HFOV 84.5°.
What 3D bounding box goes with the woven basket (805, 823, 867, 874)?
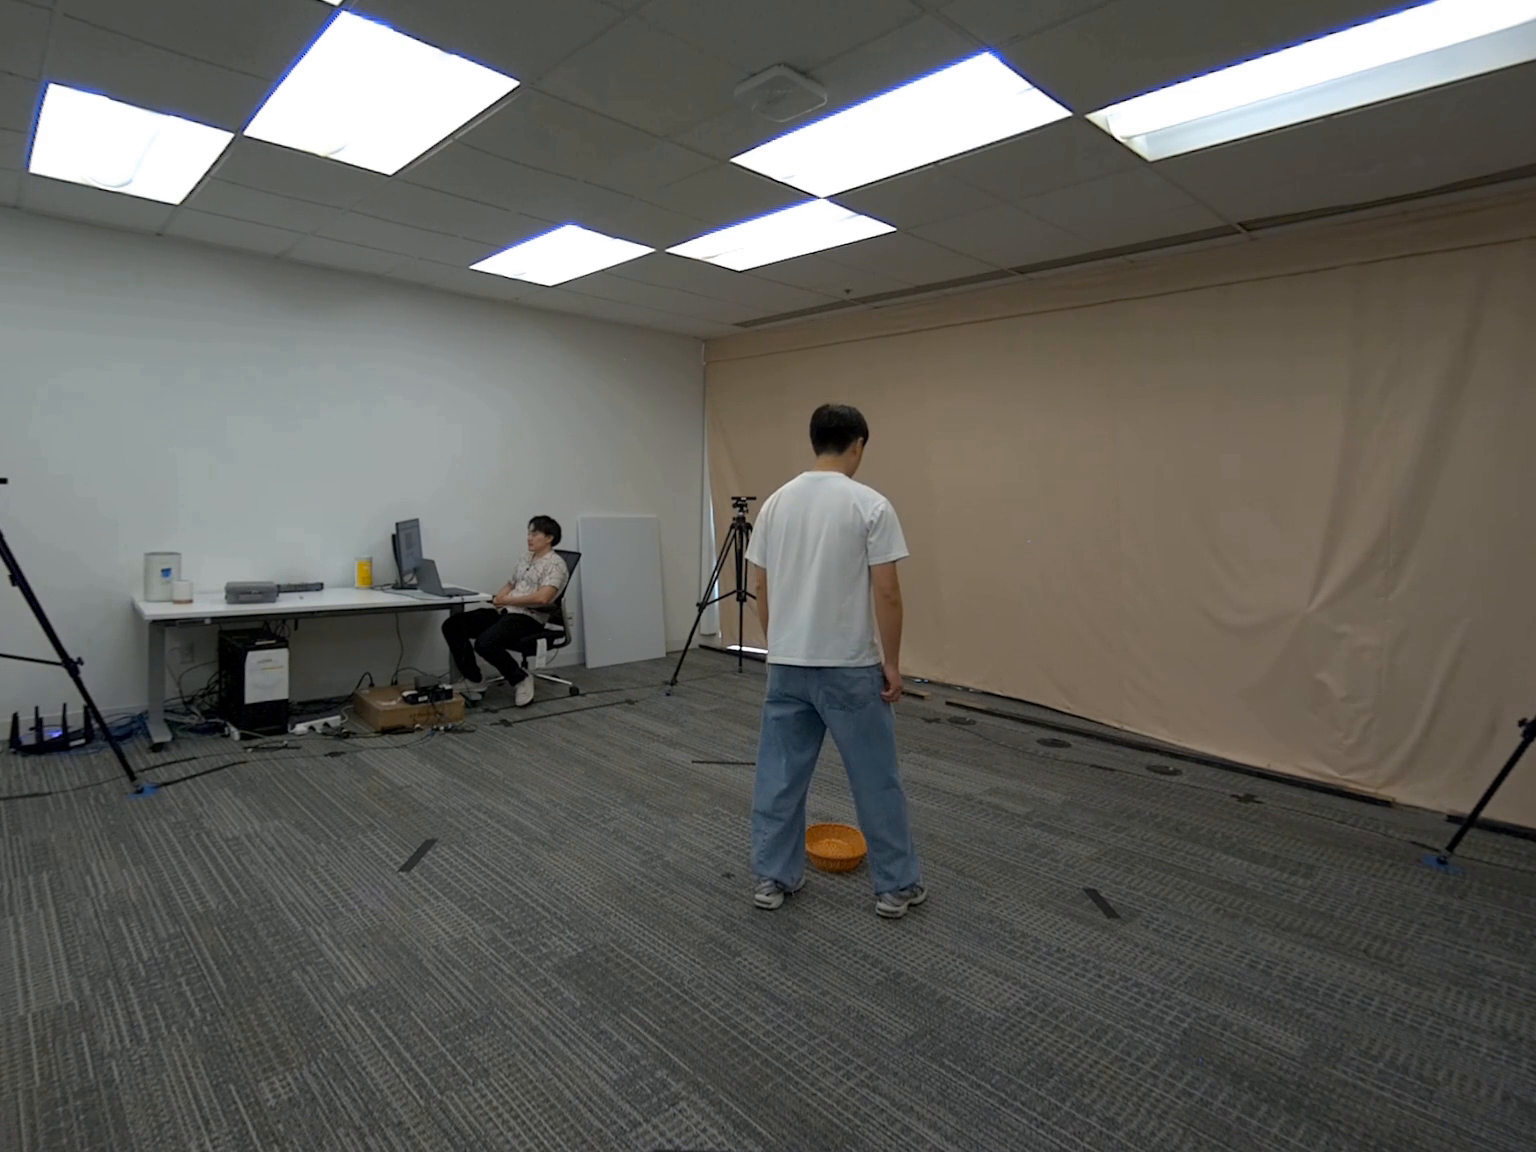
[{"bbox_3d":[0.251,1.061,3.292,0.253,0.073,0.350,1,5,5],"label":"woven basket"}]
